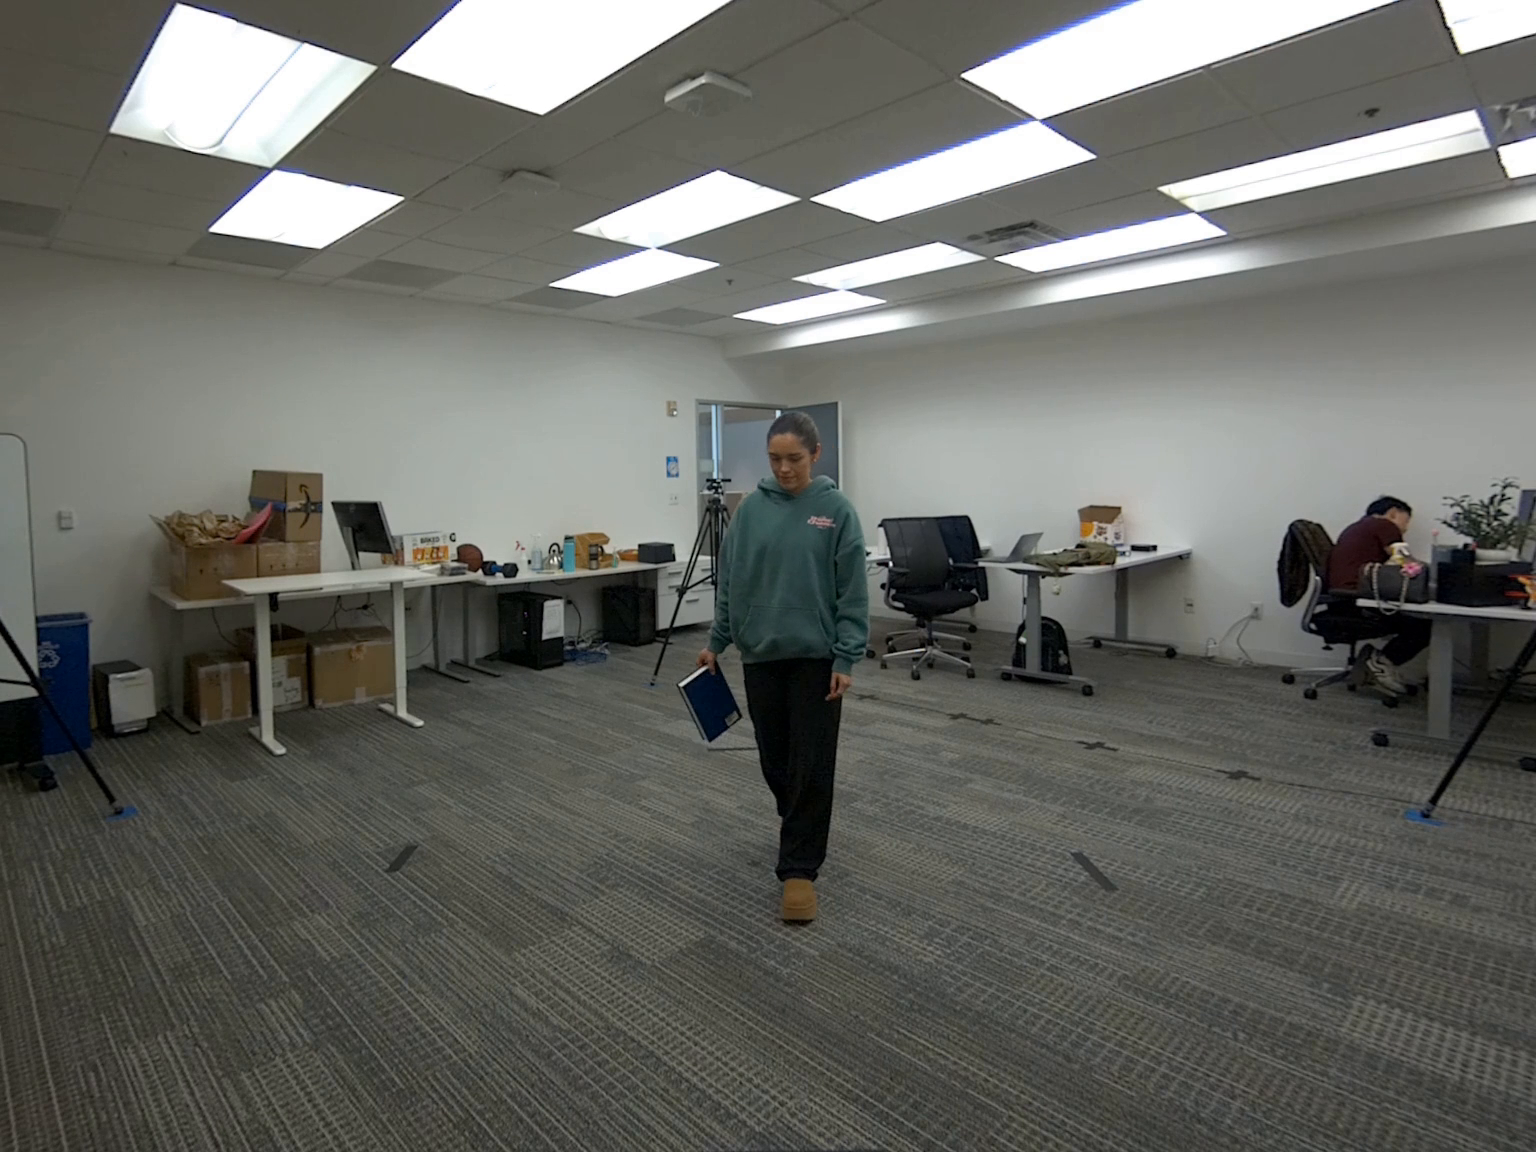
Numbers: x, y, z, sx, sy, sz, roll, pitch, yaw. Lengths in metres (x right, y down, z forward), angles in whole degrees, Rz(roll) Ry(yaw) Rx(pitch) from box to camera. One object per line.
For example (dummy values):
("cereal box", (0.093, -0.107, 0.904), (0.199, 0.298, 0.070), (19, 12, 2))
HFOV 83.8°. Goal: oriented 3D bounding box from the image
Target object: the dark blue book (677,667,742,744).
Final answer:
("dark blue book", (-0.206, 0.444, 3.023), (0.162, 0.240, 0.046), (-31, 18, -26))
